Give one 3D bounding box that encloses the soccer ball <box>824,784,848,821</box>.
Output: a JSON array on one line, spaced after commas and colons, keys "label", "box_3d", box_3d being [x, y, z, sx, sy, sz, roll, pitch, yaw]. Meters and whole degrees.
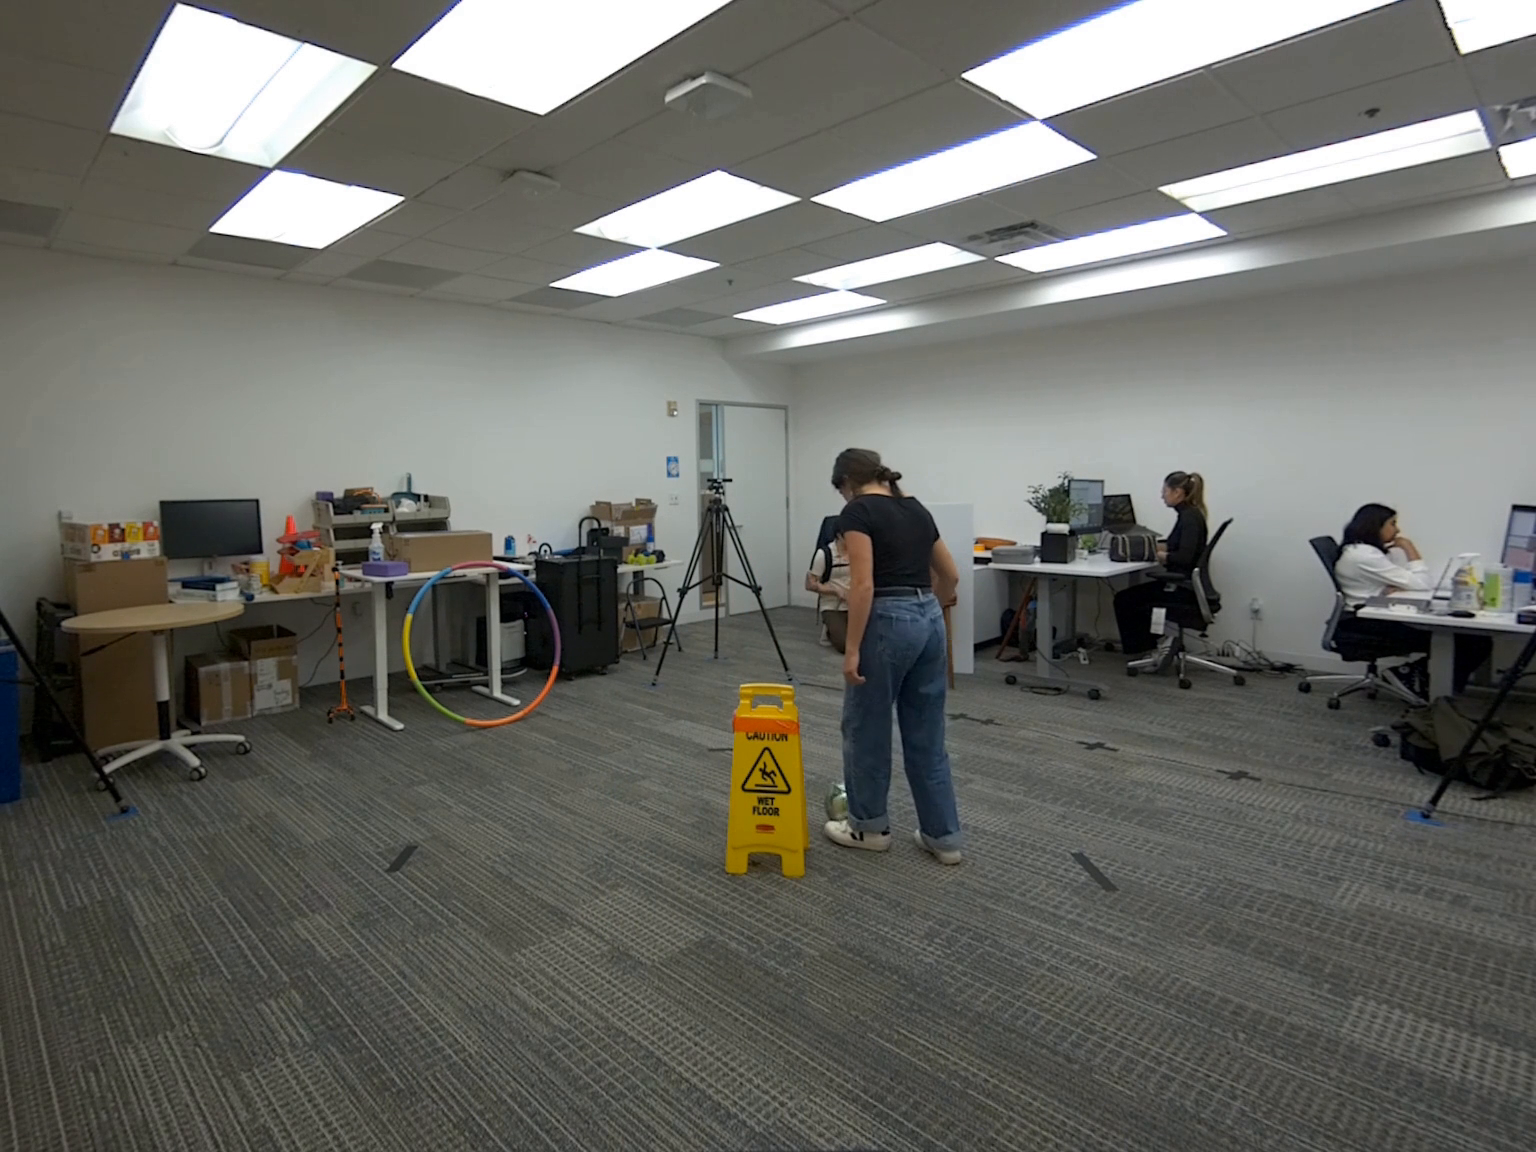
[{"label": "soccer ball", "box_3d": [0.320, 0.914, 3.410, 0.187, 0.187, 0.188, -1, 5, -2]}]
